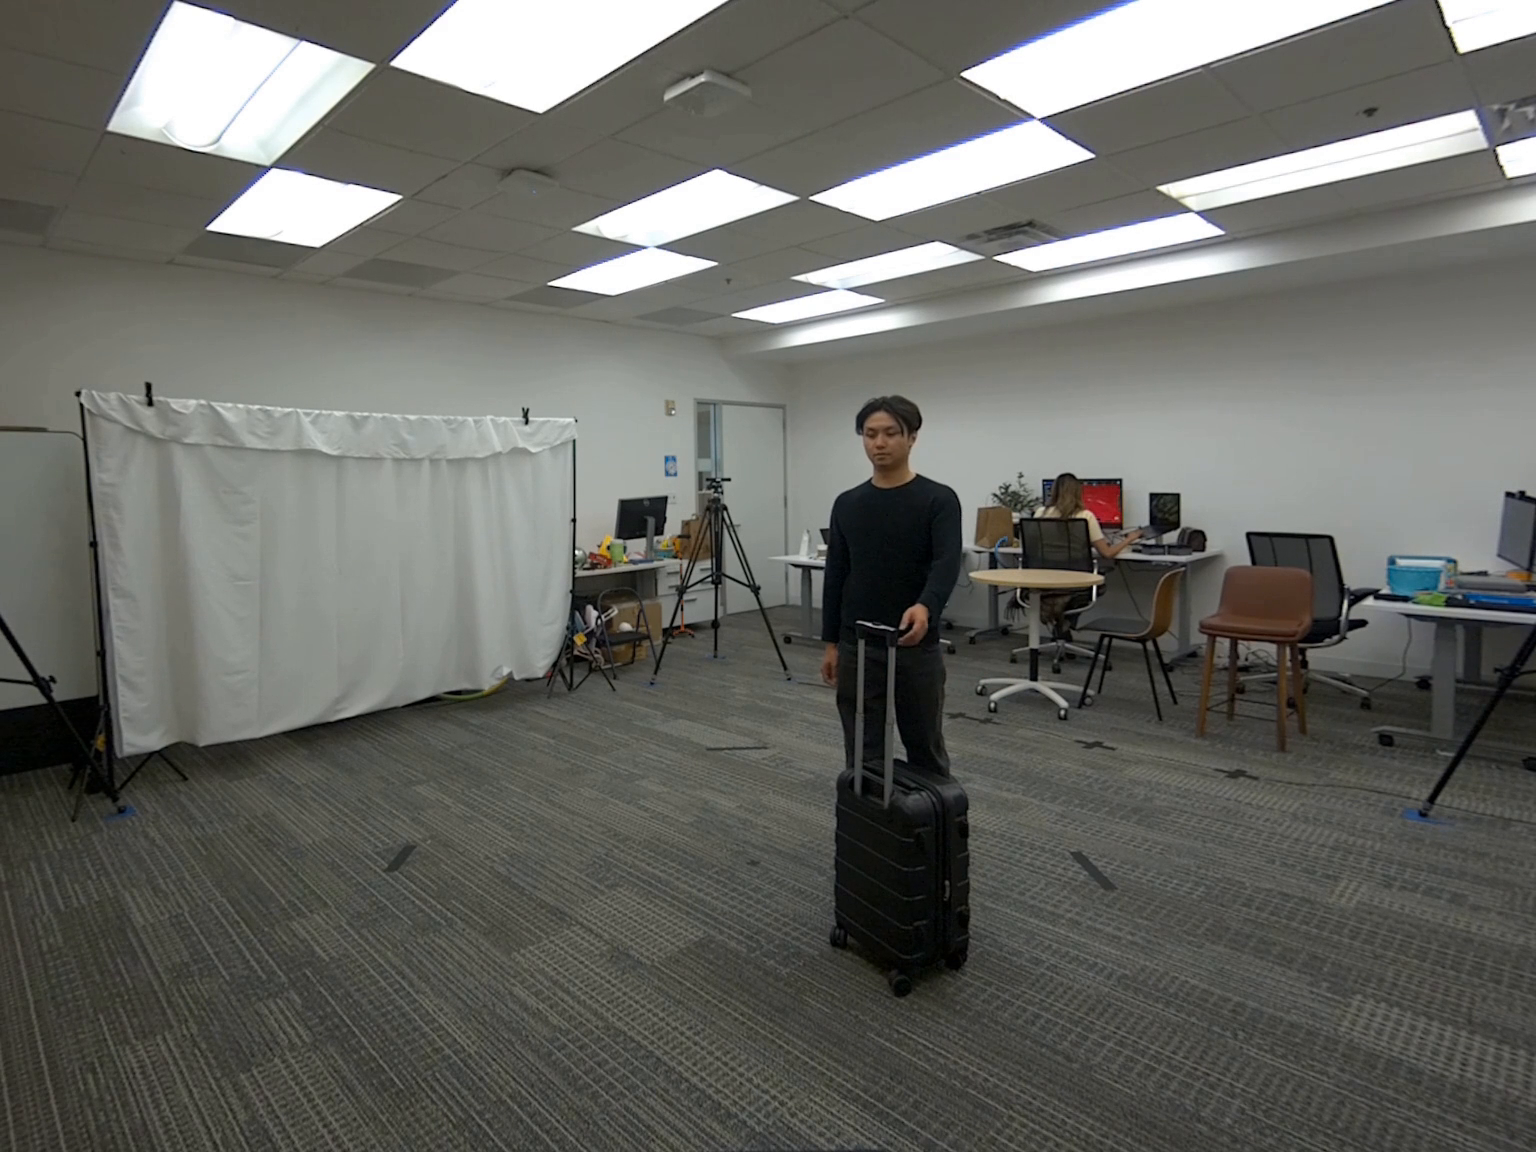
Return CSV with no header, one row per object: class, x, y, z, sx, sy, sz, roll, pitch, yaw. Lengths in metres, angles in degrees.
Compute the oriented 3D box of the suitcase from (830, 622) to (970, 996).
suitcase,0.387,0.633,2.467,0.250,0.976,0.394,0,3,-31
